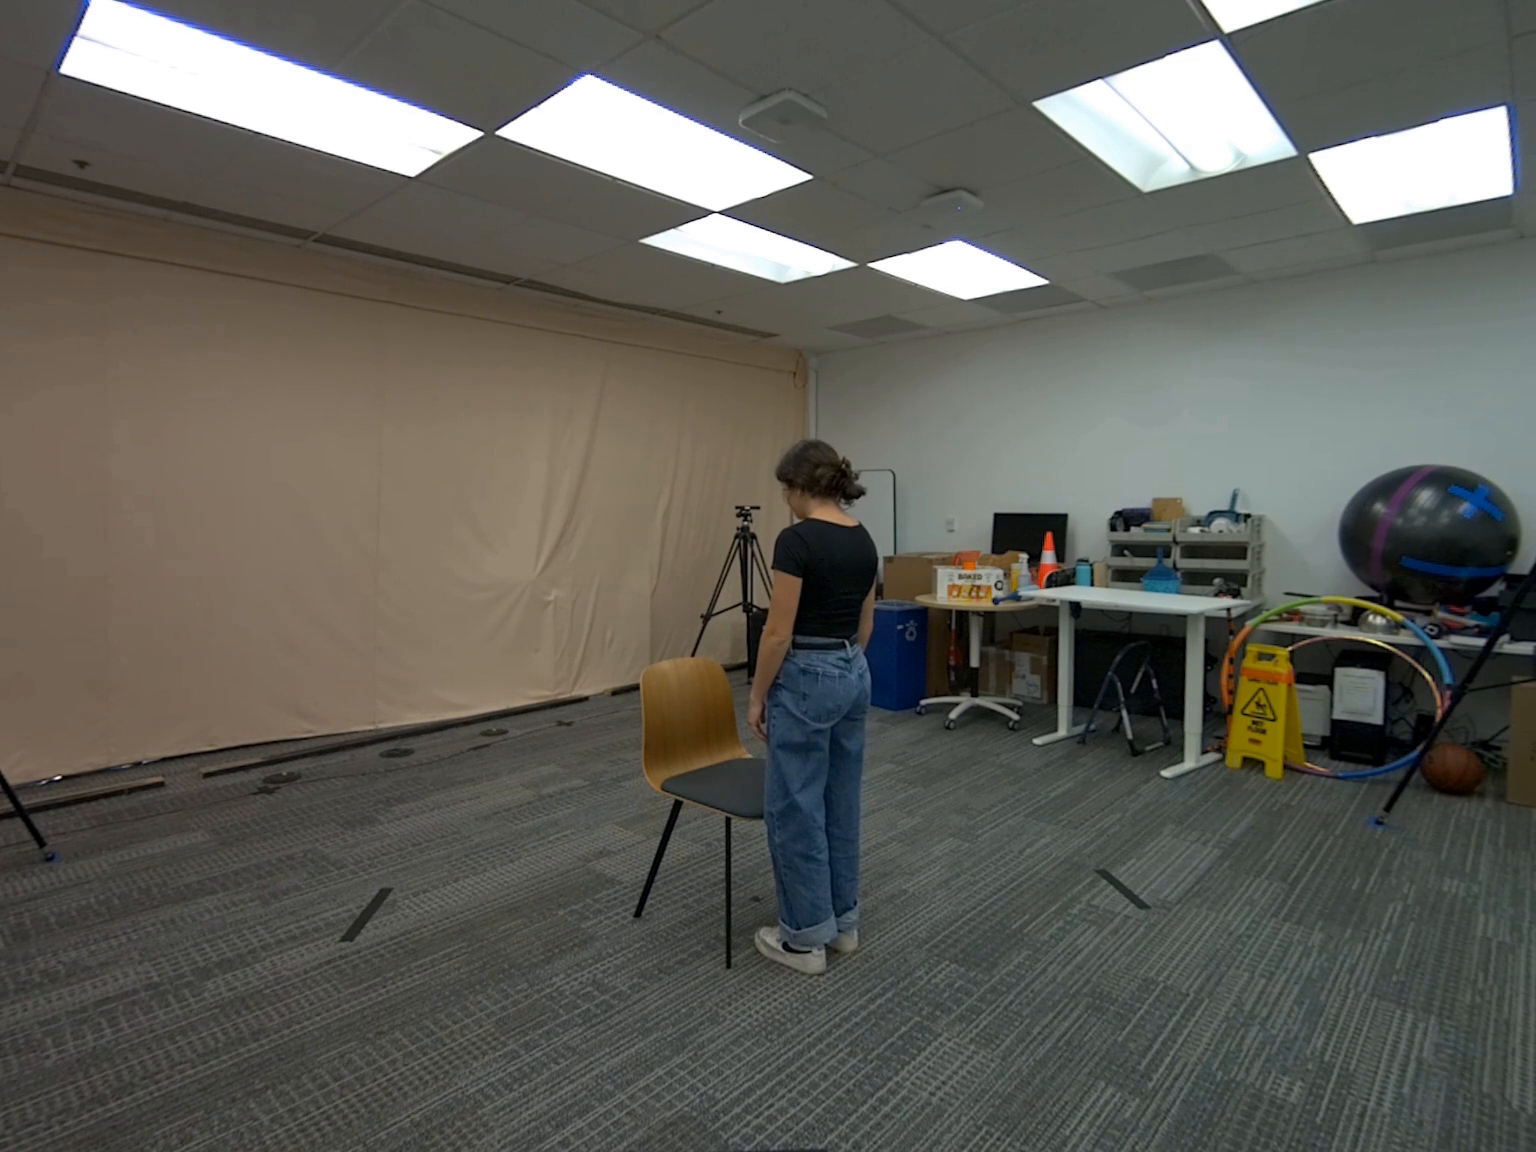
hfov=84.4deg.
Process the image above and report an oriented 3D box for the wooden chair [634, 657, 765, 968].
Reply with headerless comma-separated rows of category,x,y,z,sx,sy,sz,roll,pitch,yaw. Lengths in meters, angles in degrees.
wooden chair,-0.133,0.736,2.816,0.540,0.877,0.463,-2,1,44
